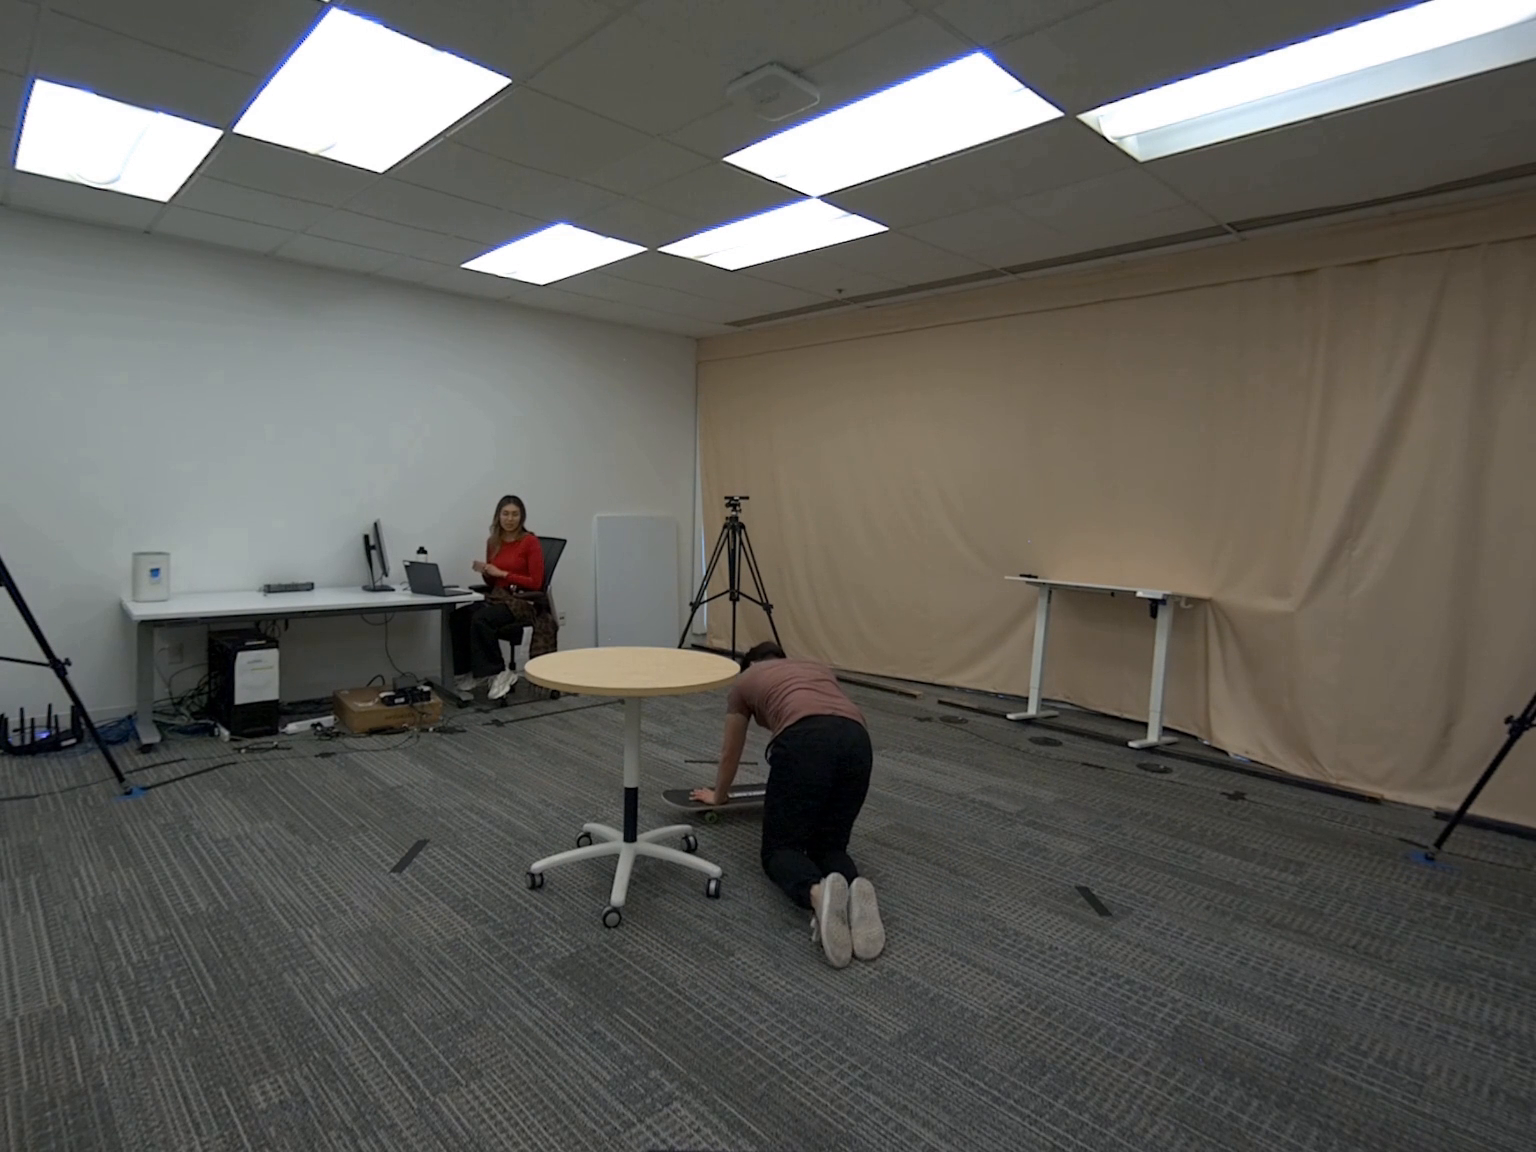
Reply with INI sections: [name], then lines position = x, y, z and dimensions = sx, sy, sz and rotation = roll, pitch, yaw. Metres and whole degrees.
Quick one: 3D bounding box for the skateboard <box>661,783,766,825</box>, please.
[skateboard]
position = -0.093, 0.997, 3.729
dimensions = 0.775, 0.110, 0.197
rotation = 0, 8, -17
